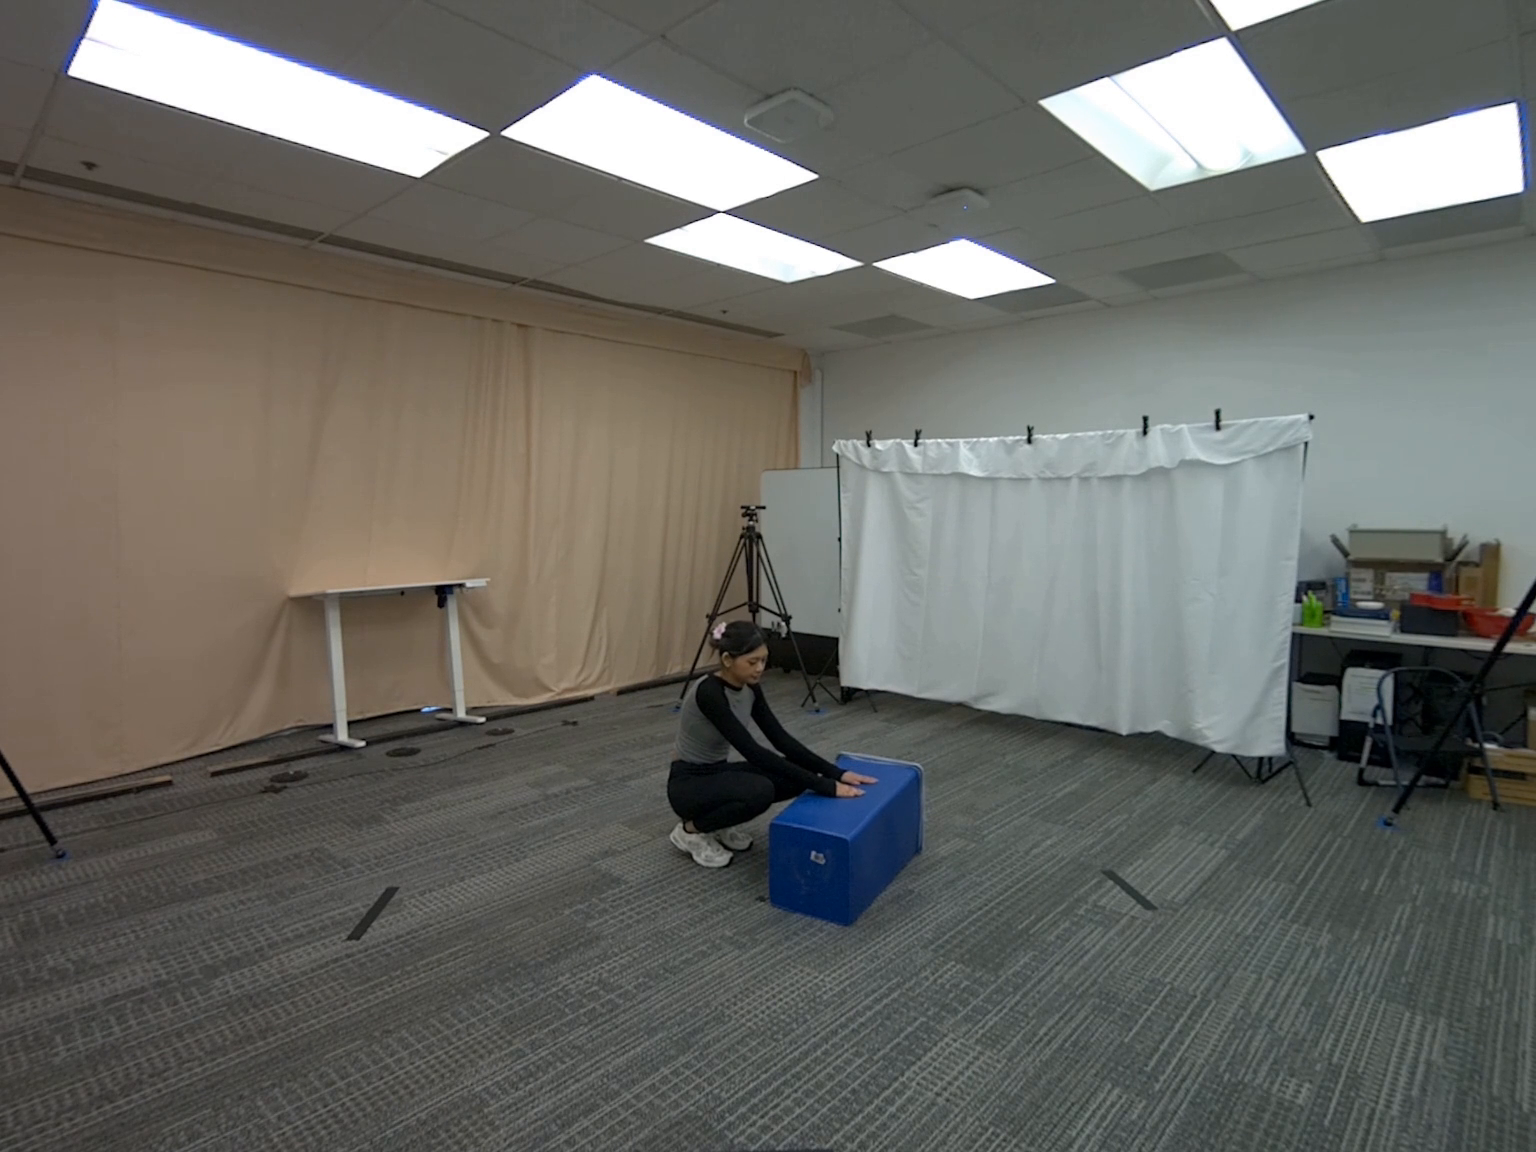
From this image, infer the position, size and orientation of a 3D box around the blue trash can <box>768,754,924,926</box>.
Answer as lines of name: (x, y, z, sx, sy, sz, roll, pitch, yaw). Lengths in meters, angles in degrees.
blue trash can: (0.296, 0.961, 3.143, 0.385, 0.376, 0.696, 3, 7, 29)
